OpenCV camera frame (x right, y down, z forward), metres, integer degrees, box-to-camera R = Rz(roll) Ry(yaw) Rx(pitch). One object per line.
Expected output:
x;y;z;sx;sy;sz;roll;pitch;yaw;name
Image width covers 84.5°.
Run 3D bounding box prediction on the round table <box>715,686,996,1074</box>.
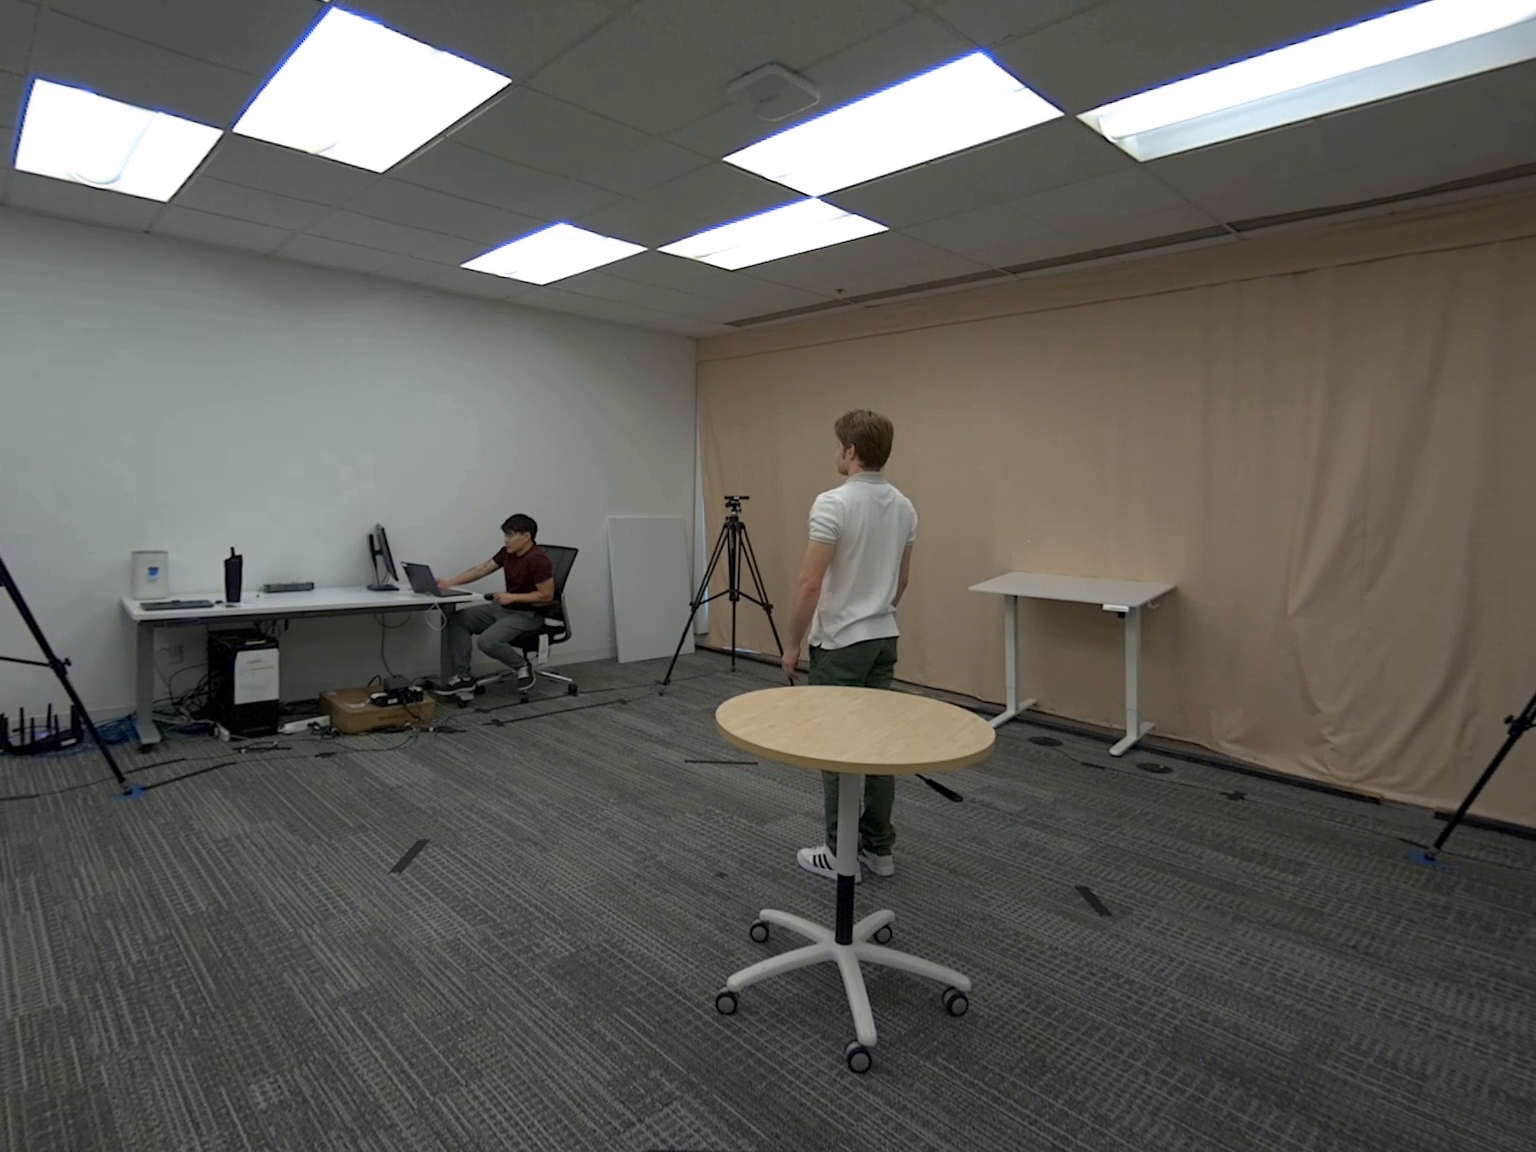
0.223;0.786;2.386;0.784;0.784;0.788;2;5;-2;round table
